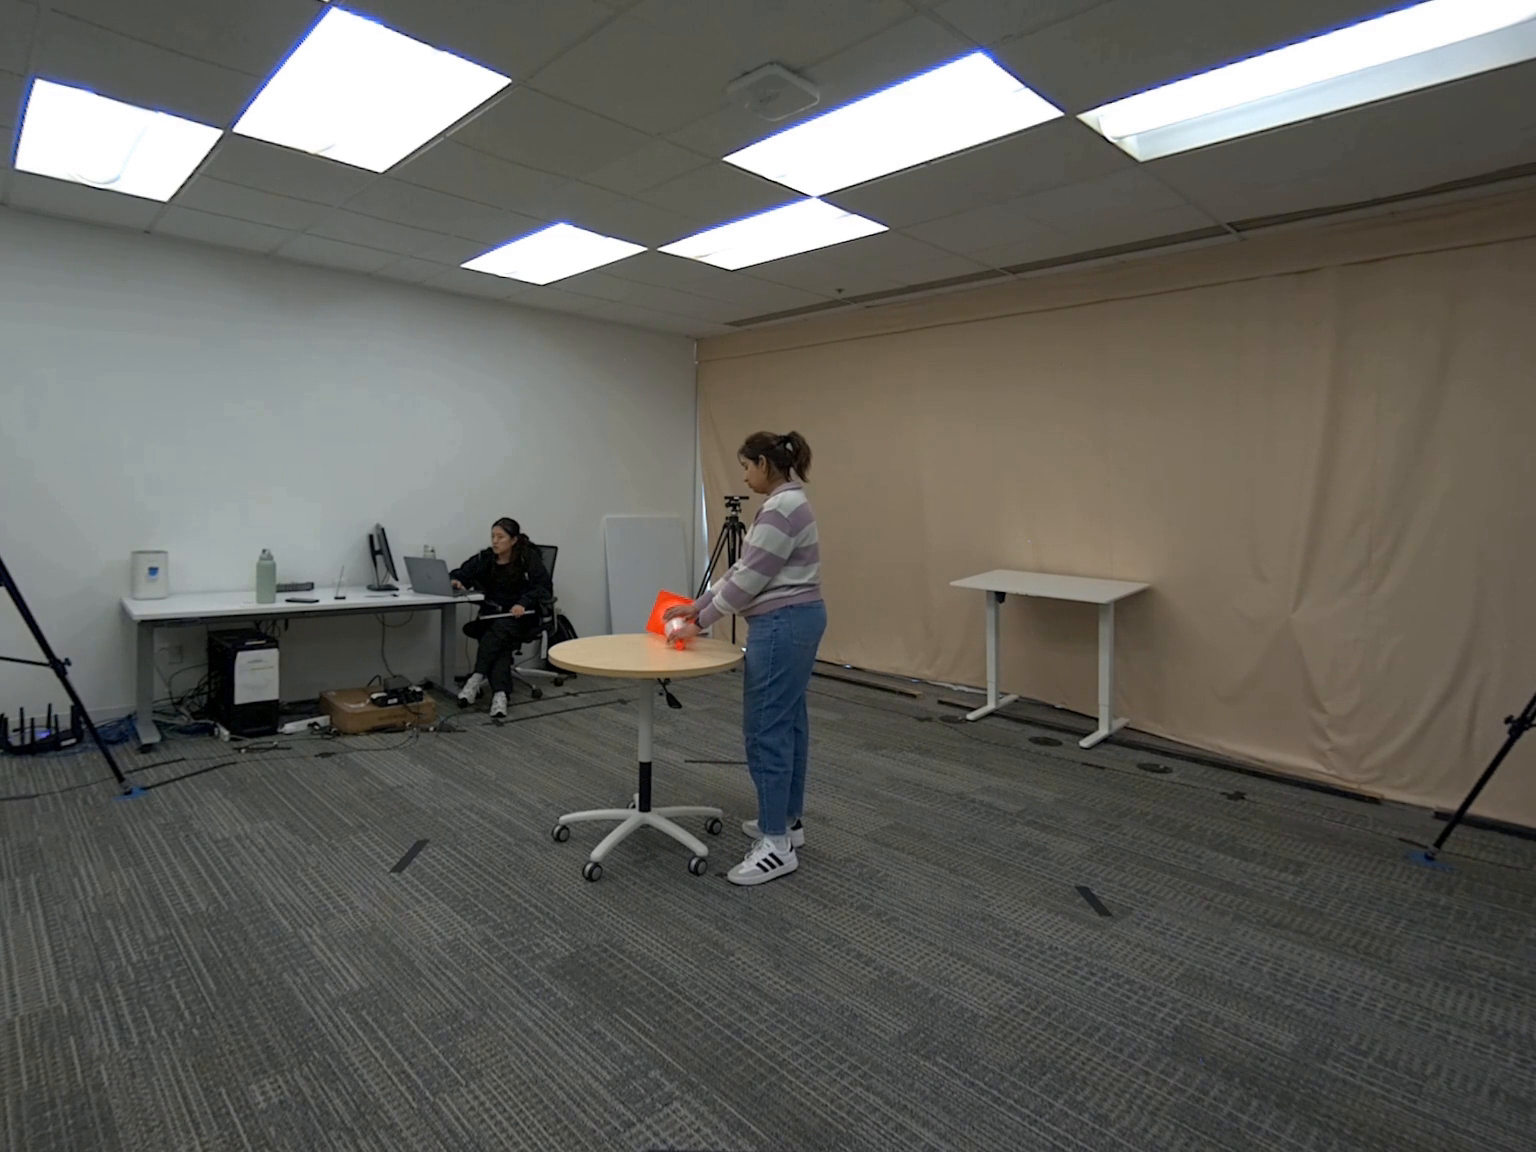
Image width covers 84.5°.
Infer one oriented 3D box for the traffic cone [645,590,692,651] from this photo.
[{"bbox_3d":[-0.382,0.225,3.501,0.201,0.204,0.389,11,12,-10],"label":"traffic cone"}]
